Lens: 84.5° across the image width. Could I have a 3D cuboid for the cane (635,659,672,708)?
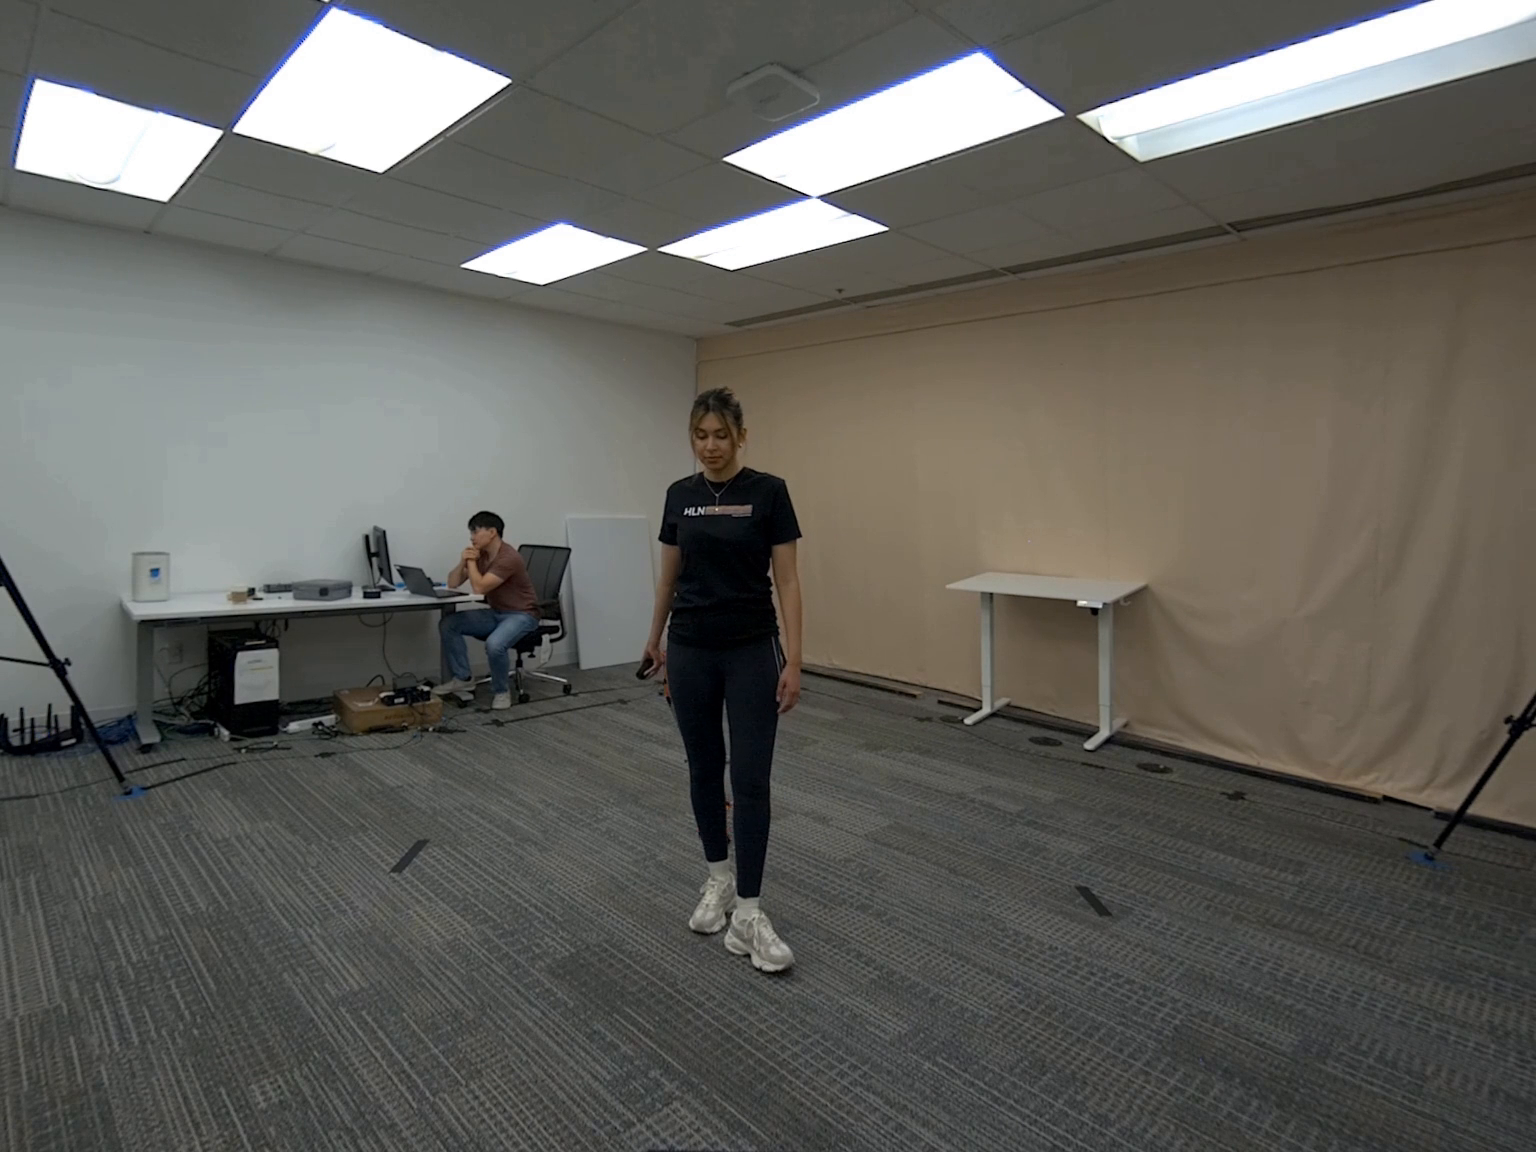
[{"bbox_3d":[-0.292,0.656,3.256,0.155,0.886,0.207,2,36,27],"label":"cane"}]
